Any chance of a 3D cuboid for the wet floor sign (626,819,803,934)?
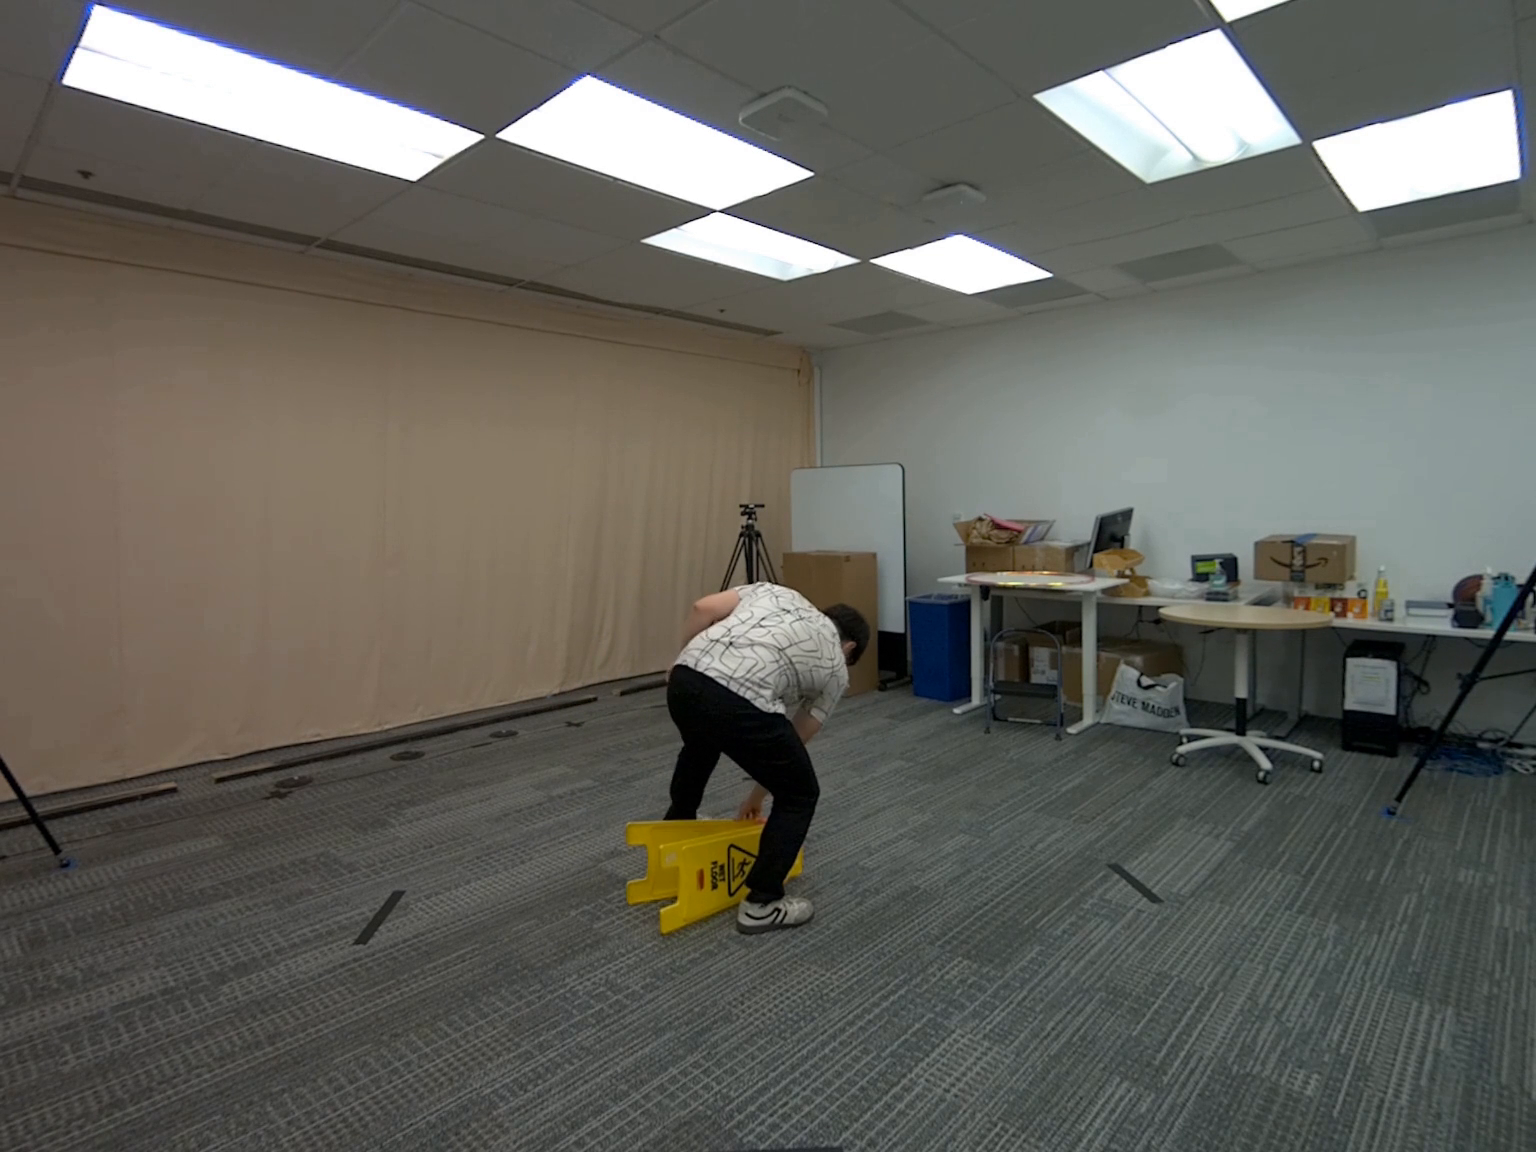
[{"bbox_3d":[-0.147,1.009,2.992,0.629,0.282,0.297,-1,-1,-30],"label":"wet floor sign"}]
